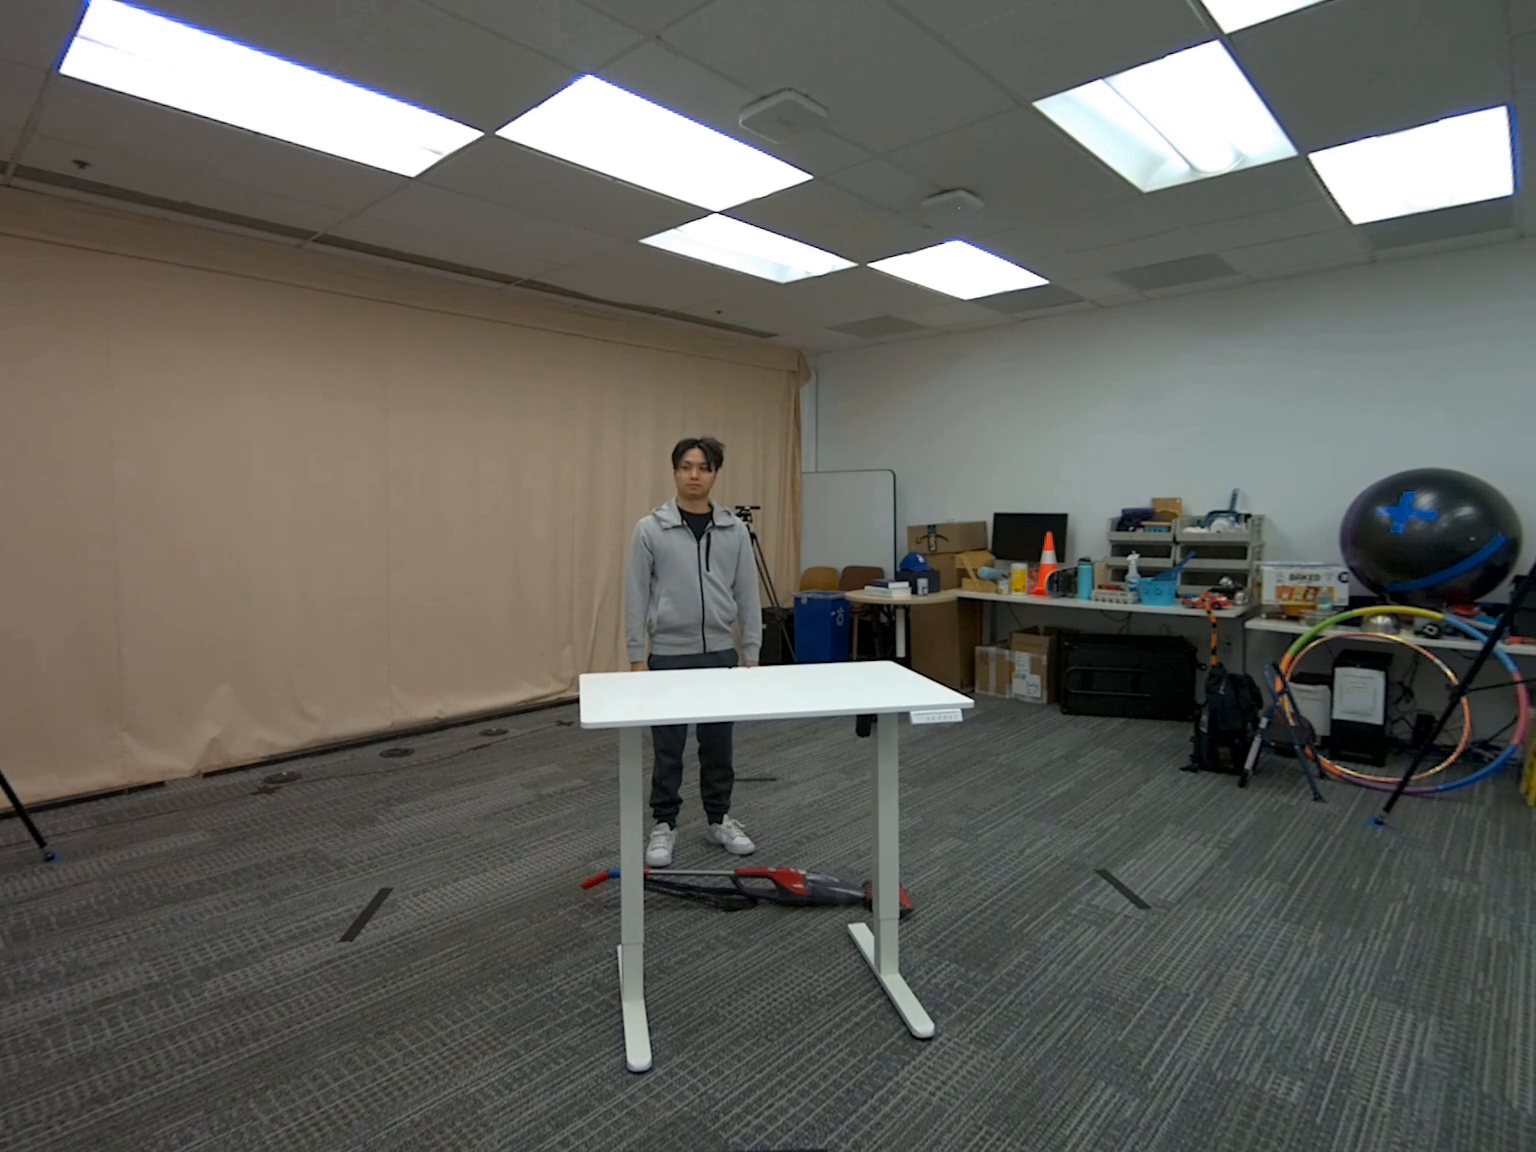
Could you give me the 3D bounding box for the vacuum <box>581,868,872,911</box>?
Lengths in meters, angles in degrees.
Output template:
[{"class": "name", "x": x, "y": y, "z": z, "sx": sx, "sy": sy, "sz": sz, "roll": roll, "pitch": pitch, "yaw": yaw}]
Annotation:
[{"class": "vacuum", "x": -0.128, "y": 1.080, "z": 2.949, "sx": 1.050, "sy": 0.144, "sz": 0.252, "roll": 2, "pitch": 0, "yaw": 0}]
